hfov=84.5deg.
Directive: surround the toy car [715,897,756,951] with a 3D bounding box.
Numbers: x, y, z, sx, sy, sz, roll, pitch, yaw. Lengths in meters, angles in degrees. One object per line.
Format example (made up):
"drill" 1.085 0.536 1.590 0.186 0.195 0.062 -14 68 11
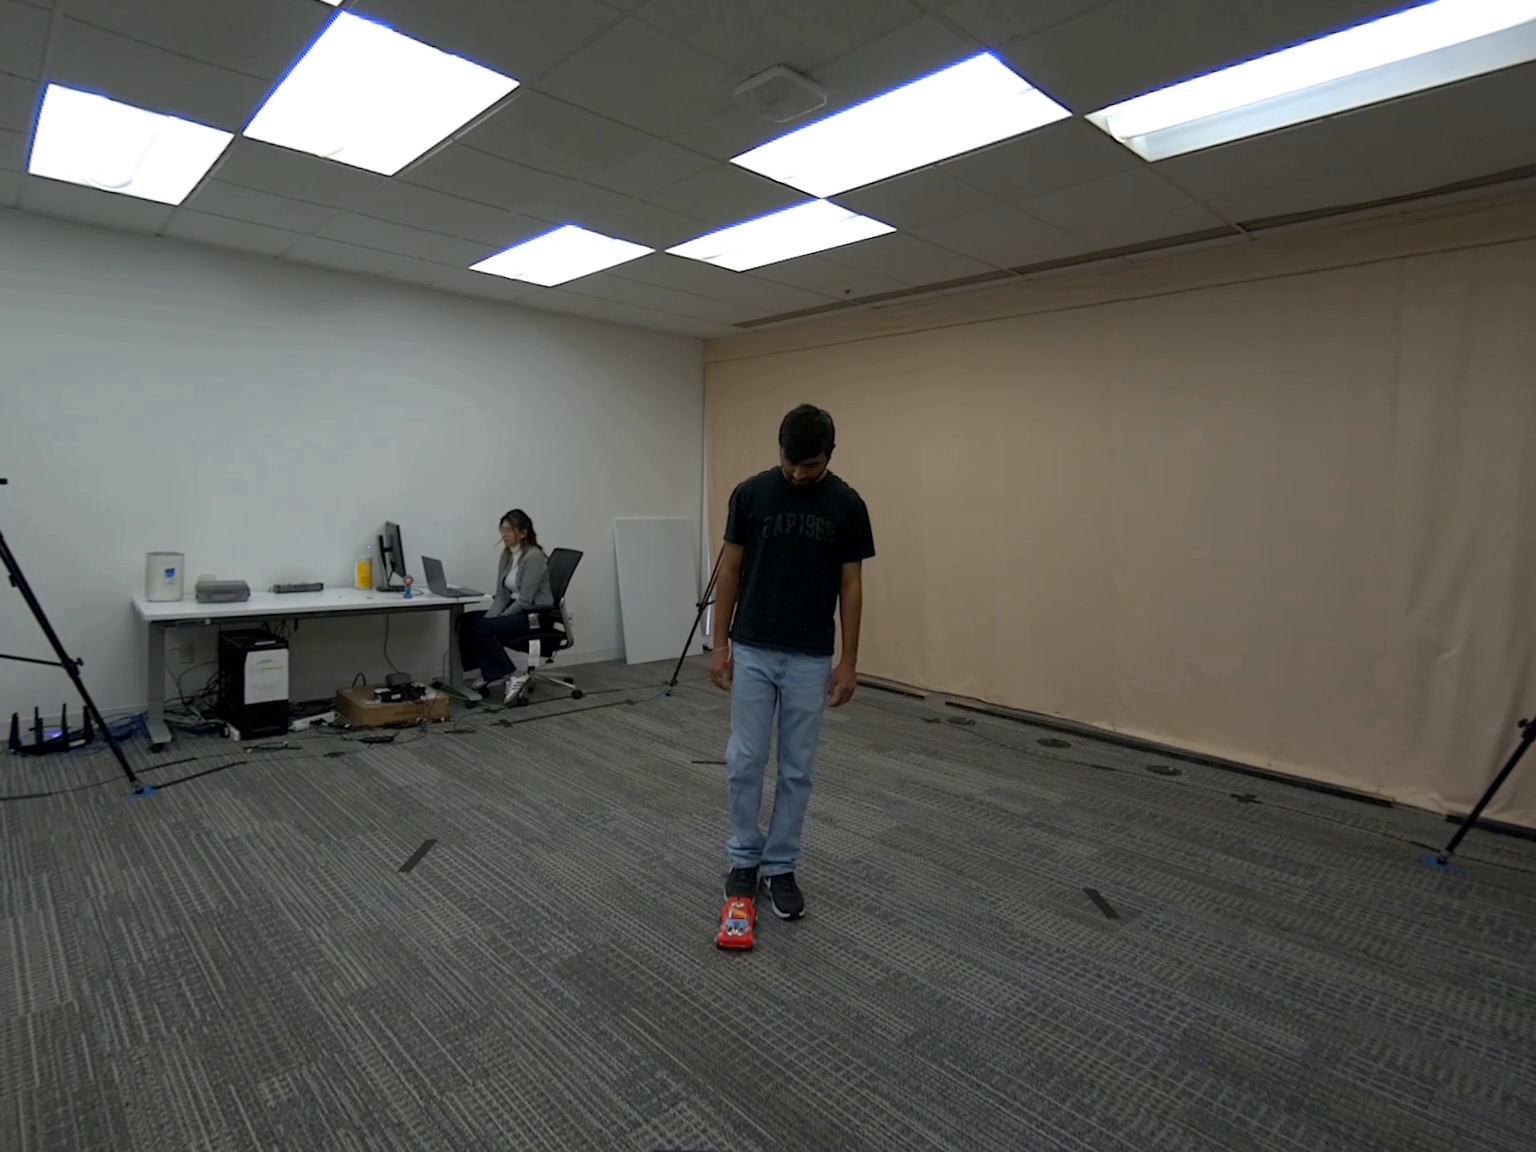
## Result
"toy car" -0.112 1.114 2.689 0.131 0.082 0.257 1 17 2
